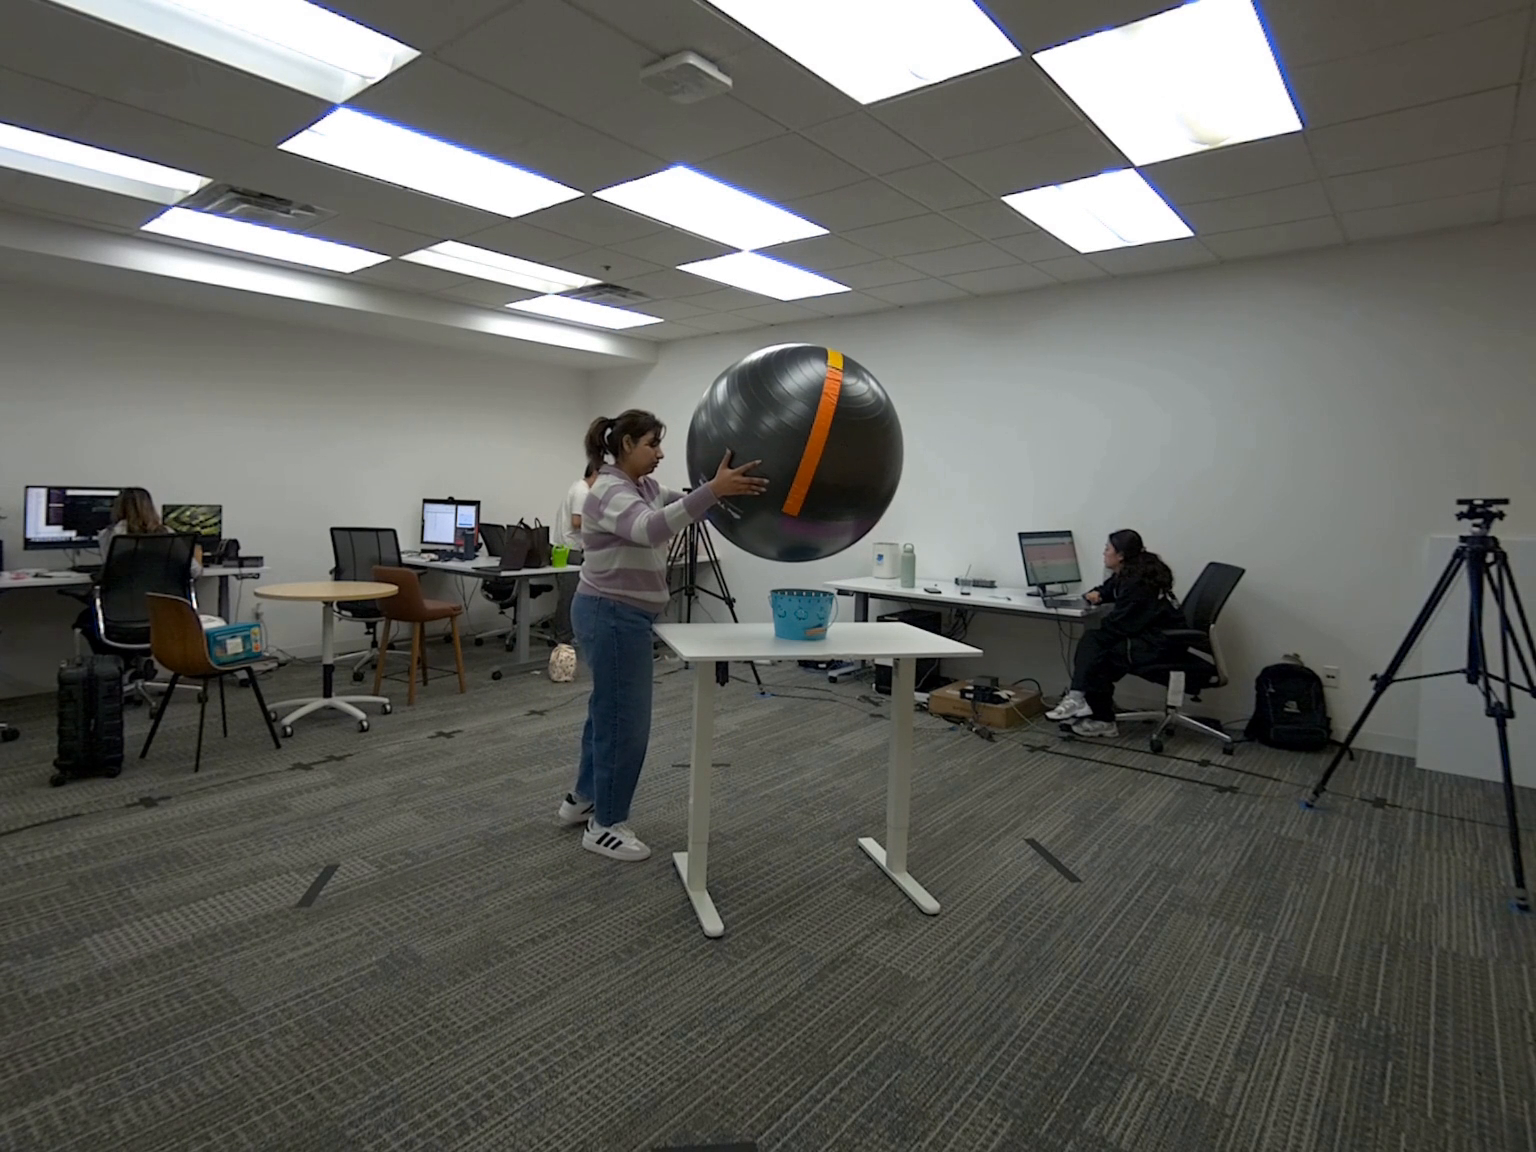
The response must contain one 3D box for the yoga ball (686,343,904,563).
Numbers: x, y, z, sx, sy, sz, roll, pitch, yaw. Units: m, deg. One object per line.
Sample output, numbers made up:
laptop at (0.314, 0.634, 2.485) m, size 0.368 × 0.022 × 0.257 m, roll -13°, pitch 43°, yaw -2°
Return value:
yoga ball at (0.088, -0.421, 2.990) m, size 0.757 × 0.755 × 0.762 m, roll 1°, pitch 4°, yaw -2°
